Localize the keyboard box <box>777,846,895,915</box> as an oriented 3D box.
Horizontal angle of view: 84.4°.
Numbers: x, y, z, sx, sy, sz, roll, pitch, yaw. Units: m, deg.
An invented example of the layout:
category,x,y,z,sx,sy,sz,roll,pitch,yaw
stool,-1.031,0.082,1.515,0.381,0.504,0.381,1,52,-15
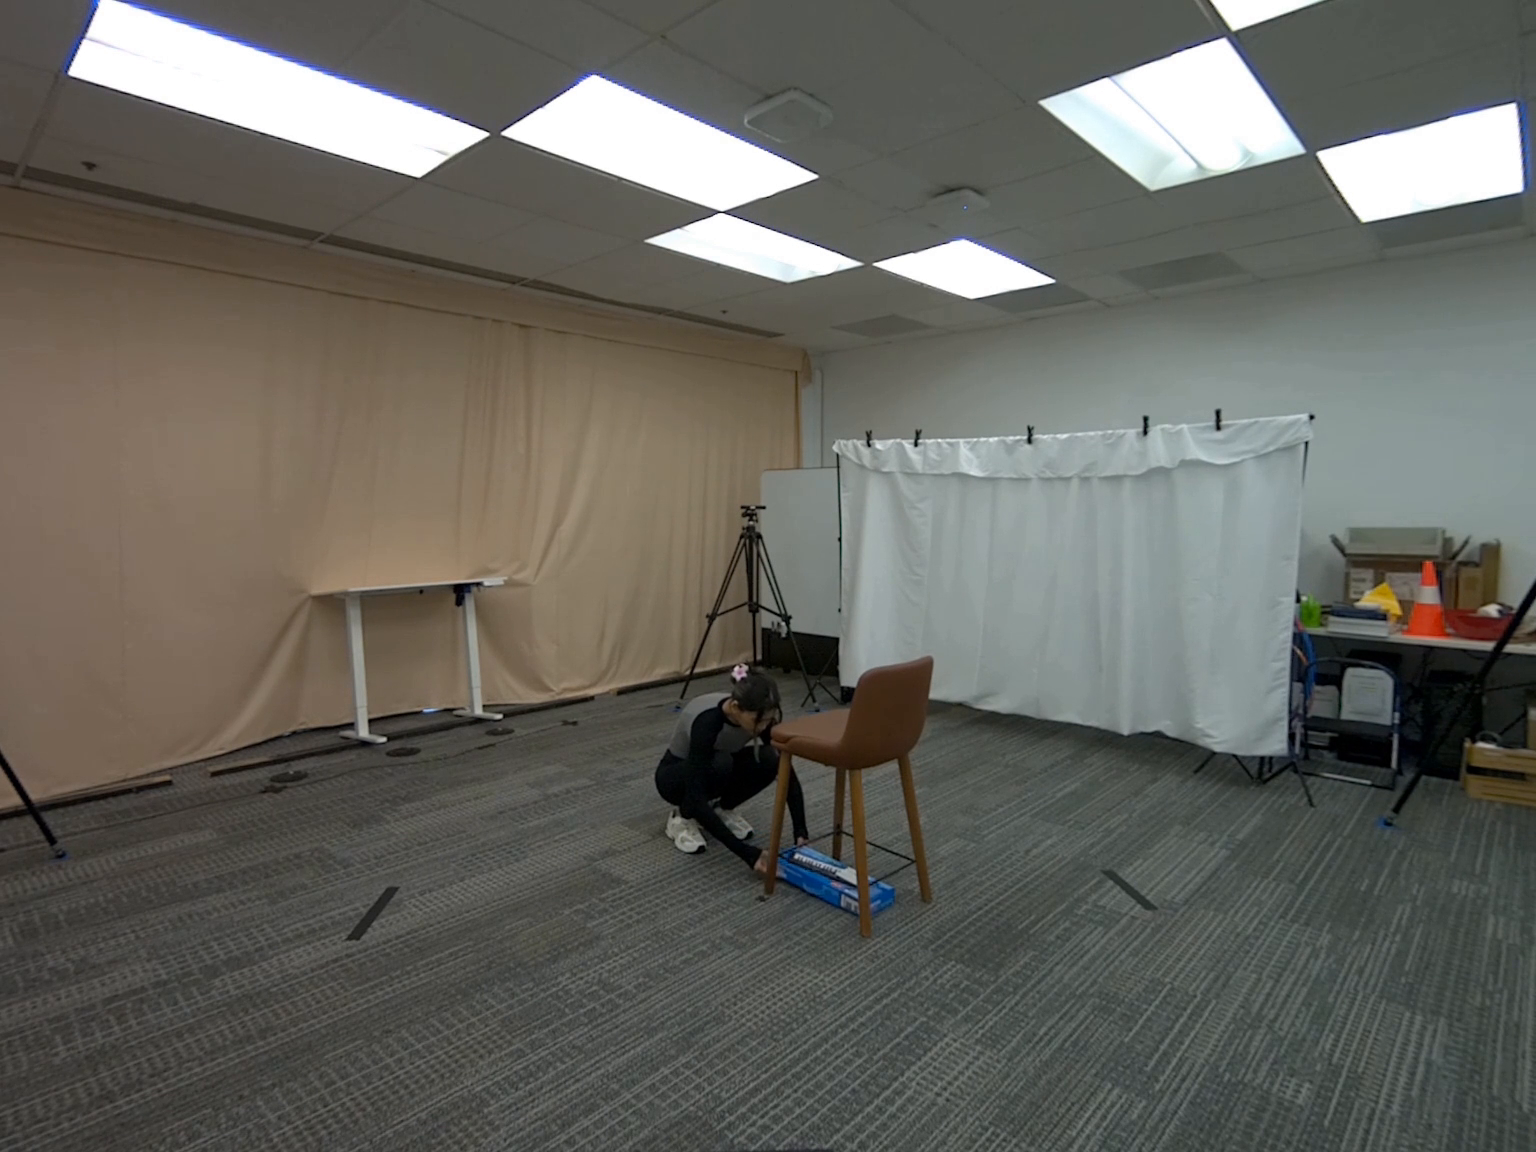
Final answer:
category,x,y,z,sx,sy,sz,roll,pitch,yaw
keyboard box,0.235,1.095,3.041,0.170,0.059,0.452,-4,10,-45
